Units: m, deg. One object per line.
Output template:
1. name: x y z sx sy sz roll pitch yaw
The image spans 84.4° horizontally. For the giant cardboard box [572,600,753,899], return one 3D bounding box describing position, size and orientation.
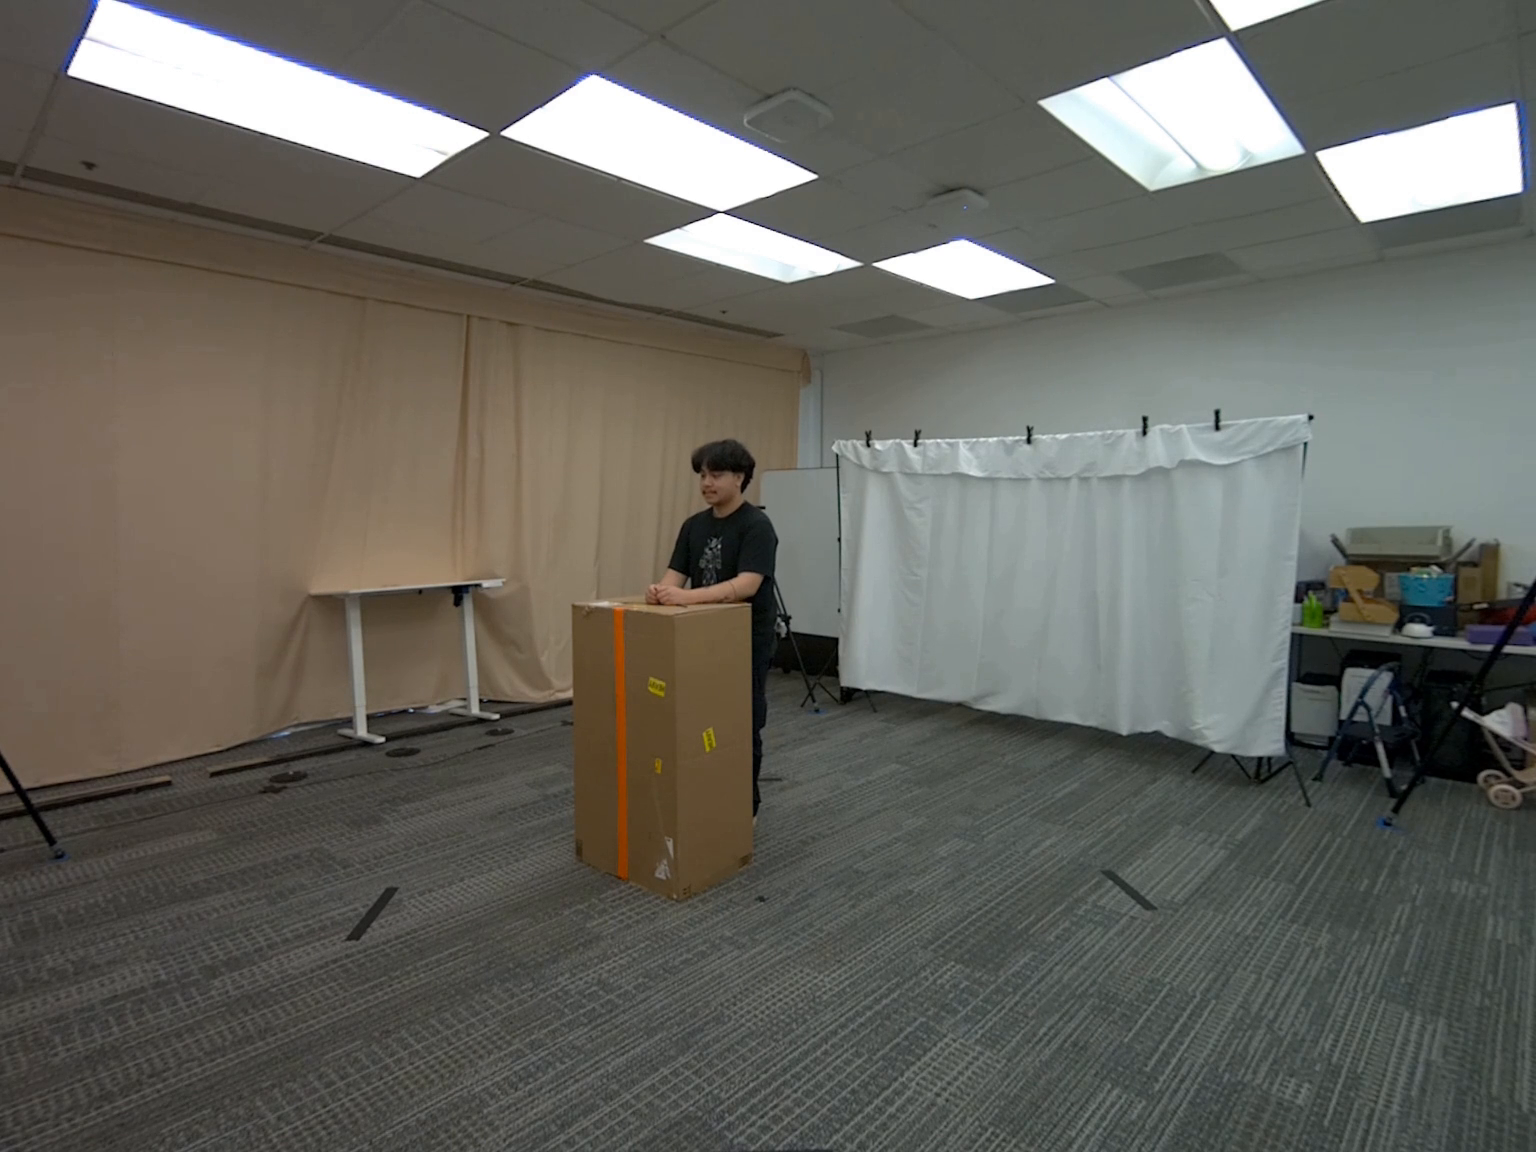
1. giant cardboard box: -0.417 0.612 3.282 0.603 1.025 0.433 2 5 41
